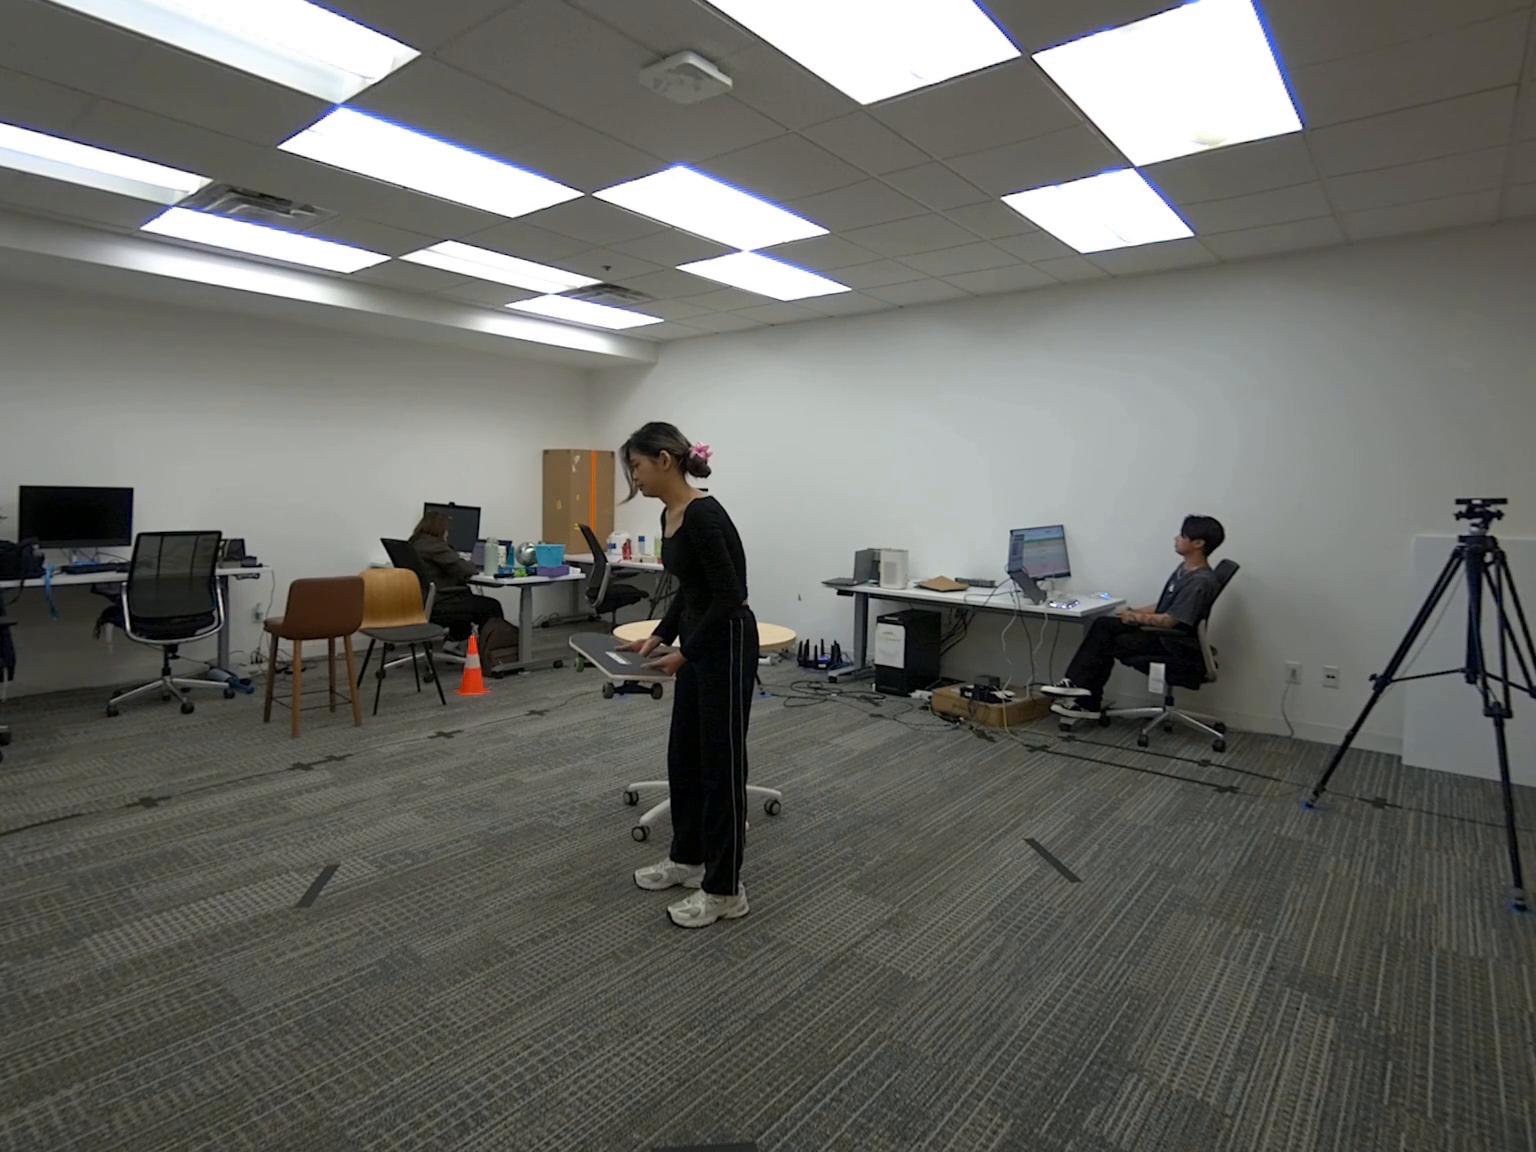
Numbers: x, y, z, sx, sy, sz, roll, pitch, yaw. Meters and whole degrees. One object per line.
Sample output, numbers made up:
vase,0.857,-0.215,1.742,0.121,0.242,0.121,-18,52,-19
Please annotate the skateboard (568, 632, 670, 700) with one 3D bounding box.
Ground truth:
skateboard,-0.500,0.300,2.759,0.188,0.110,0.807,4,3,-25
